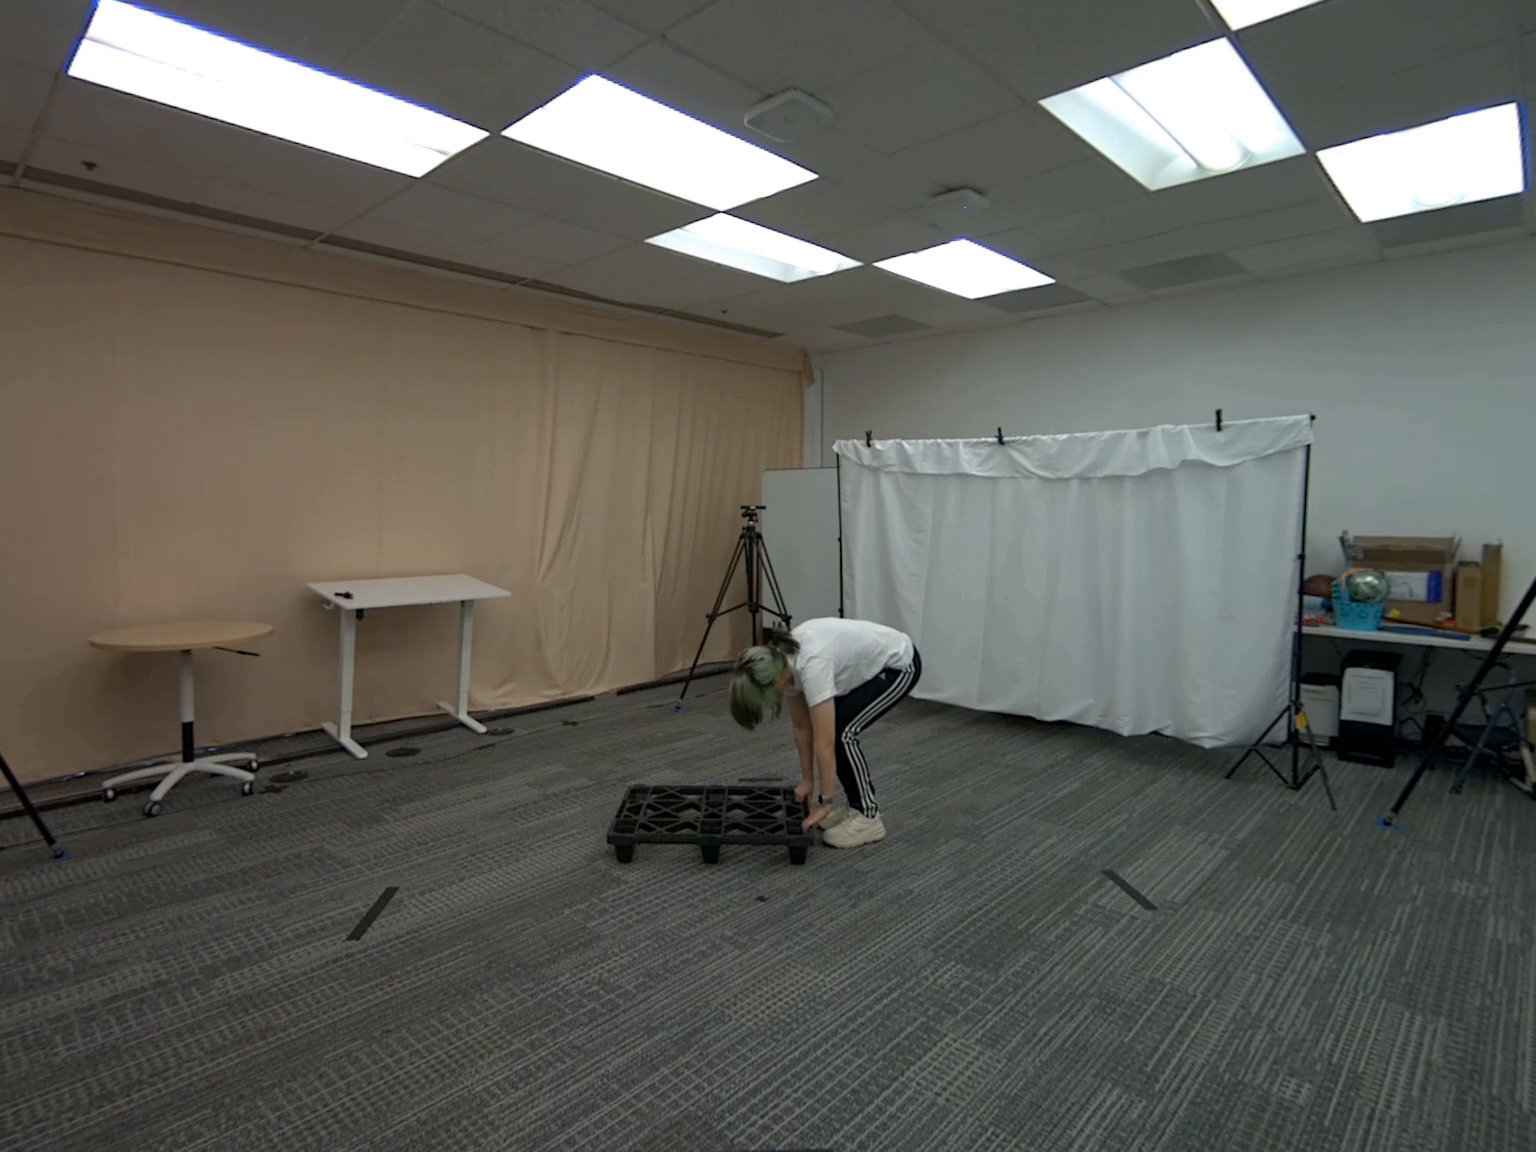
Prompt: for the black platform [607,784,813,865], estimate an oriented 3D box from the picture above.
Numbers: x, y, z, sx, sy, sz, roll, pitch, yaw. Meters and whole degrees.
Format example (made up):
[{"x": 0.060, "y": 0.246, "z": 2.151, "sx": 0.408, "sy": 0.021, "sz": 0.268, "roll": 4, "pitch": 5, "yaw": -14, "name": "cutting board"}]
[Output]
[{"x": -0.230, "y": 1.034, "z": 3.510, "sx": 0.807, "sy": 0.143, "sz": 0.605, "roll": 0, "pitch": 4, "yaw": 1, "name": "black platform"}]
